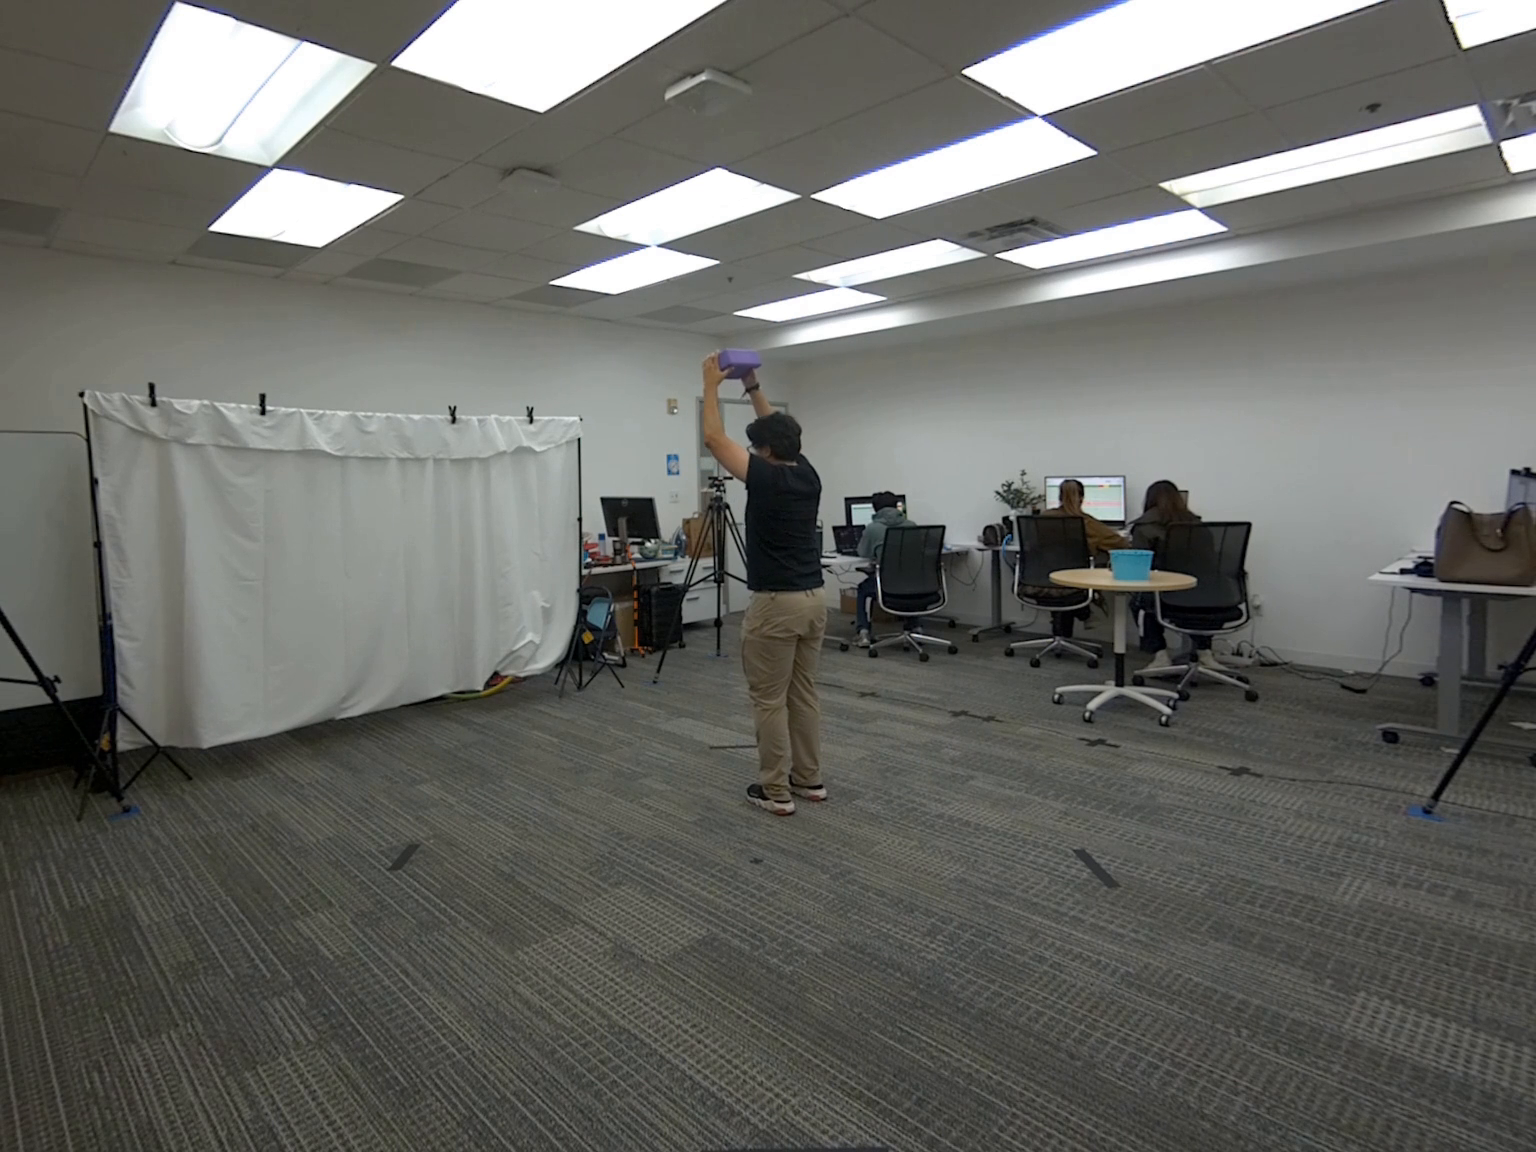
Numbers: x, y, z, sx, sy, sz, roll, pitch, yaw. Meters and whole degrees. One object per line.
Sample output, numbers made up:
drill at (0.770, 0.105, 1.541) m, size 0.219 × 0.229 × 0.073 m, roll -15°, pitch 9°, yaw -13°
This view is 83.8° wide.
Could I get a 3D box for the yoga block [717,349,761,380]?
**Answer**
yoga block at (-0.153, -0.917, 3.694) m, size 0.151 × 0.077 × 0.225 m, roll -21°, pitch -2°, yaw 38°
